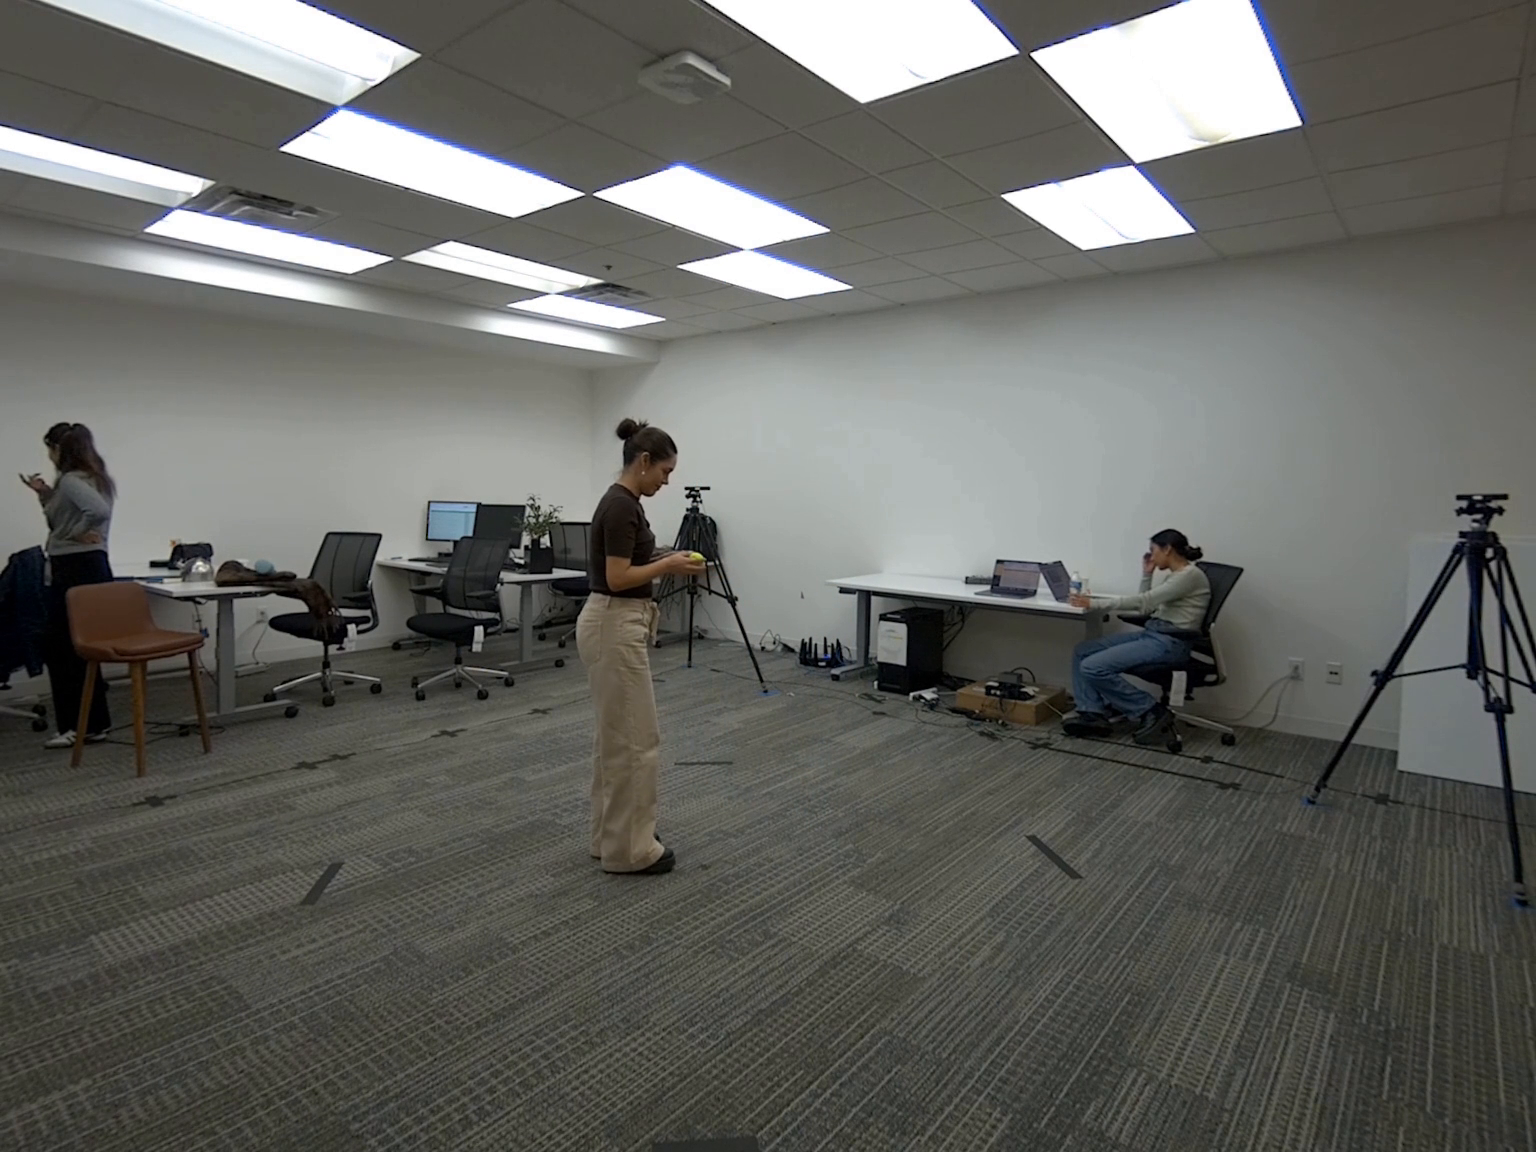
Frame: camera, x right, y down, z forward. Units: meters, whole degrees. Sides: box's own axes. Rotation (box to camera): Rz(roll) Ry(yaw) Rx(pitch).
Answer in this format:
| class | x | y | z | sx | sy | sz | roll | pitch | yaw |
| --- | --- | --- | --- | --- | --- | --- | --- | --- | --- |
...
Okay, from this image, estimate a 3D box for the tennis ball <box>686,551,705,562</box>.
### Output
| class | x | y | z | sx | sy | sz | roll | pitch | yaw |
| --- | --- | --- | --- | --- | --- | --- | --- | --- | --- |
| tennis ball | -0.278 | -0.055 | 3.149 | 0.066 | 0.066 | 0.067 | 1 | 4 | -2 |
